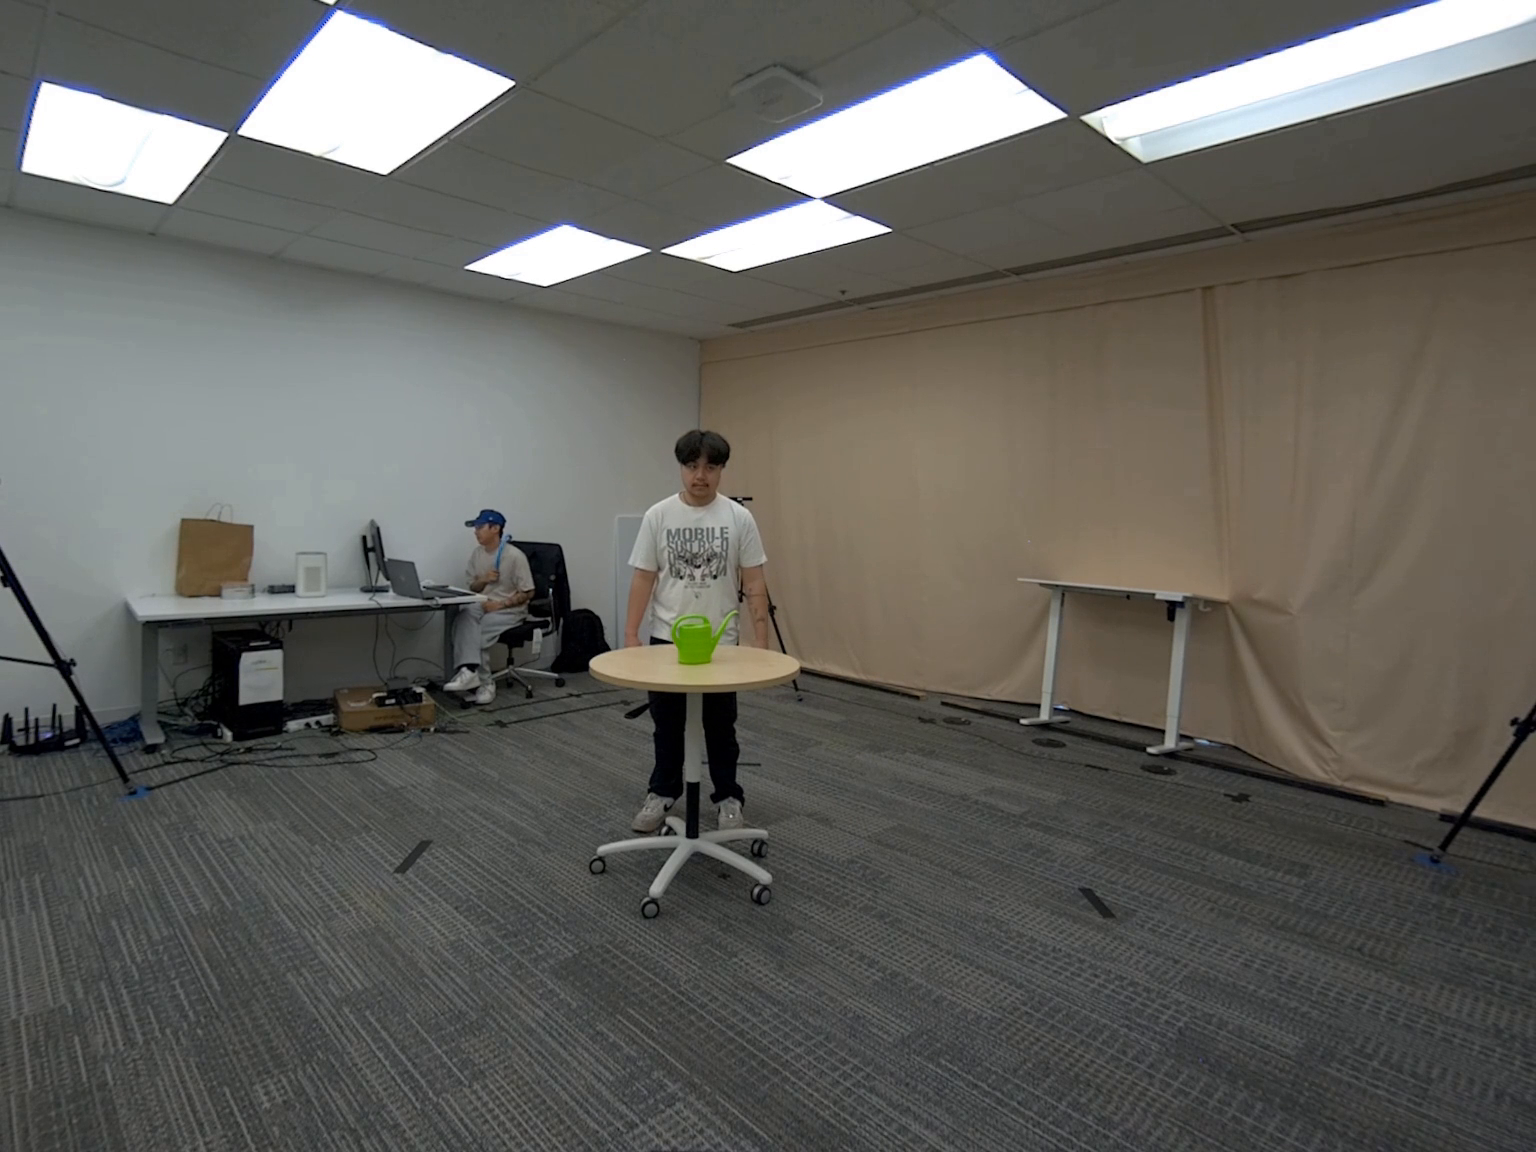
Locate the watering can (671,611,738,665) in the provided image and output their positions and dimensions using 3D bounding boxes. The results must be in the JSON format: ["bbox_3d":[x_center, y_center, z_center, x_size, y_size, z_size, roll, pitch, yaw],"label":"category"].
[{"bbox_3d":[-0.246,0.226,3.084,0.274,0.176,0.100,-2,5,-19],"label":"watering can"}]
